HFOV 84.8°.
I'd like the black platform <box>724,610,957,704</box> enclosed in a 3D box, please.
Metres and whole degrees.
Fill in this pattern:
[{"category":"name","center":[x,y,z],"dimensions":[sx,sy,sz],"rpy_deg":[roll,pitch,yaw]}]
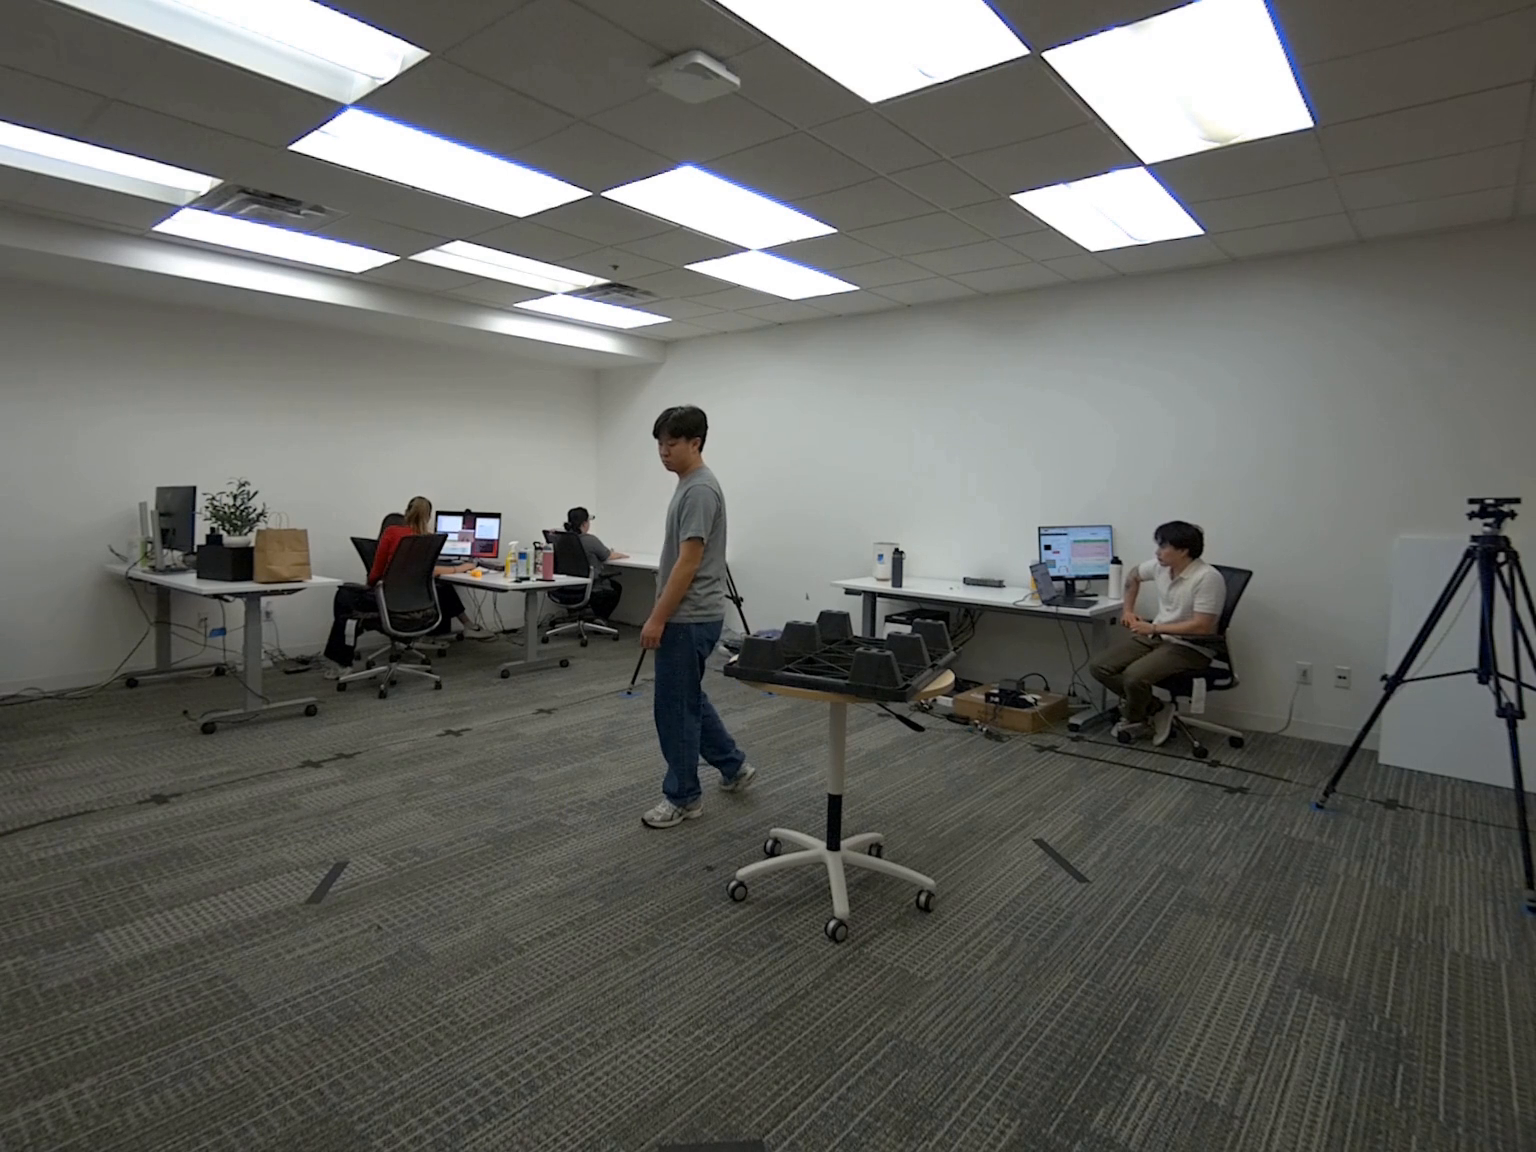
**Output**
[{"category":"black platform","center":[0.280,0.247,2.945],"dimensions":[0.622,0.142,0.788],"rpy_deg":[5,7,25]}]
